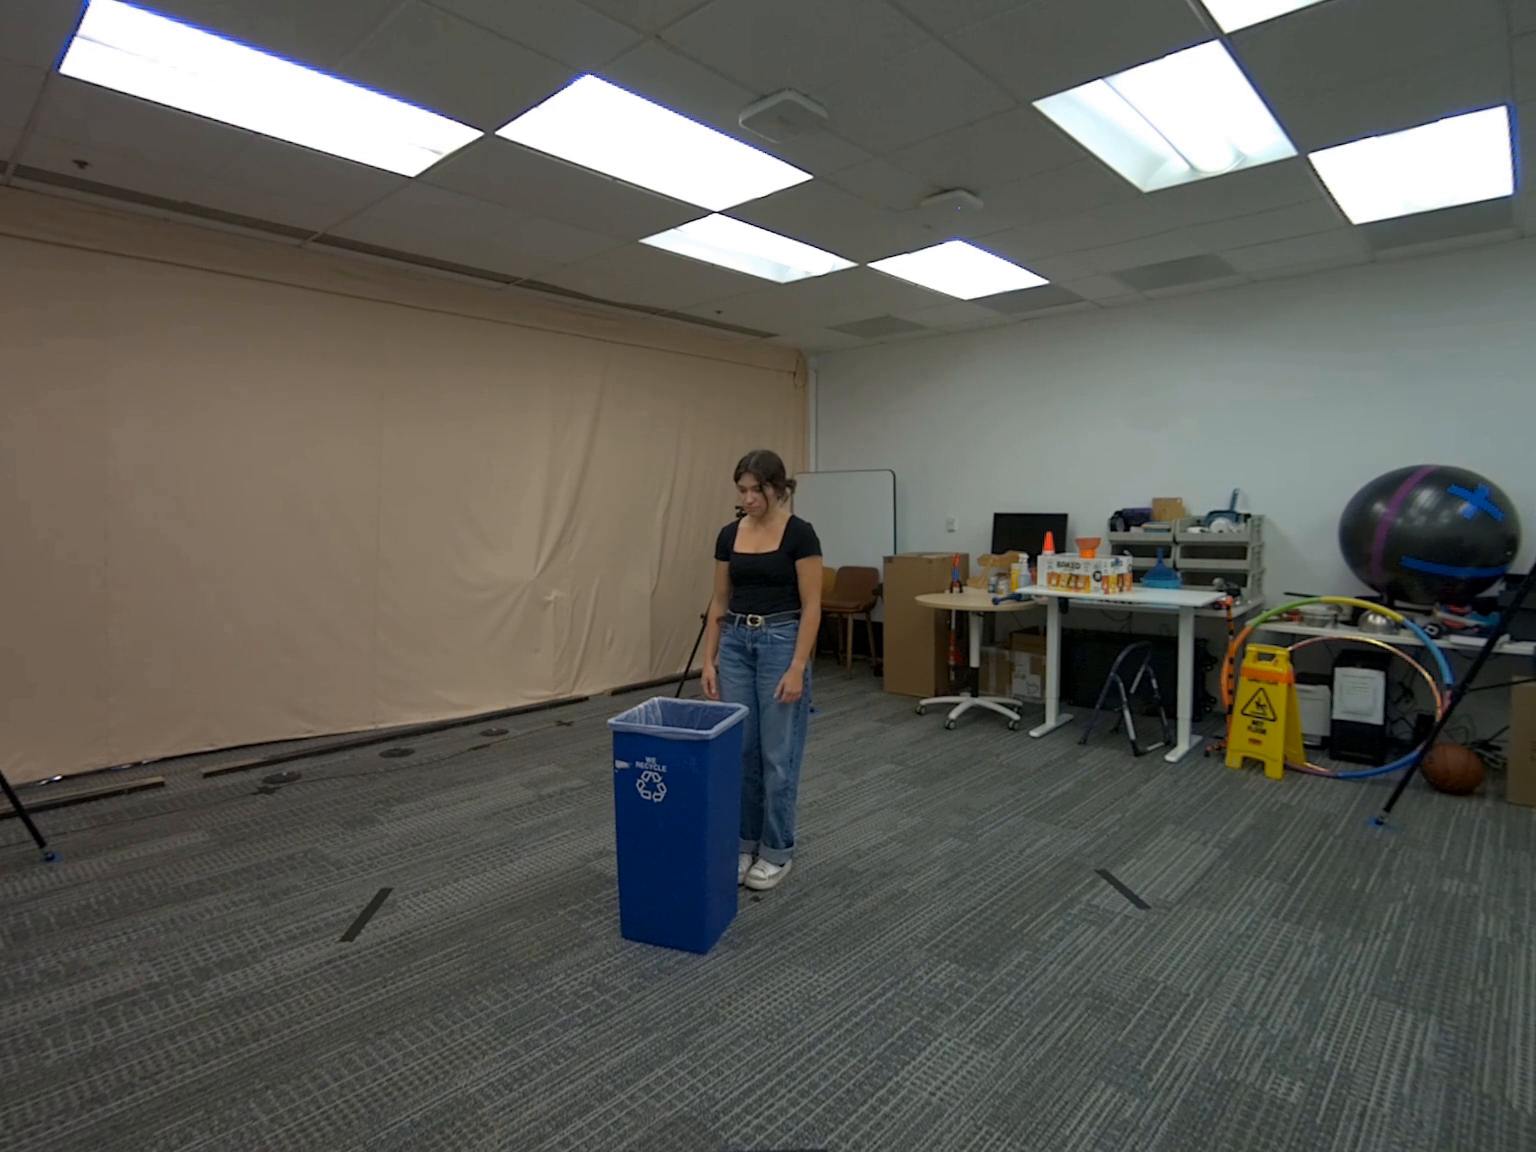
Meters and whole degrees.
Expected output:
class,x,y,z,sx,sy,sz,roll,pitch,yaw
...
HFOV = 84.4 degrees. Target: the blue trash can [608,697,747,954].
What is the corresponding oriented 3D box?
class,x,y,z,sx,sy,sz,roll,pitch,yaw
blue trash can,-0.286,0.804,2.778,0.382,0.712,0.371,1,4,20
